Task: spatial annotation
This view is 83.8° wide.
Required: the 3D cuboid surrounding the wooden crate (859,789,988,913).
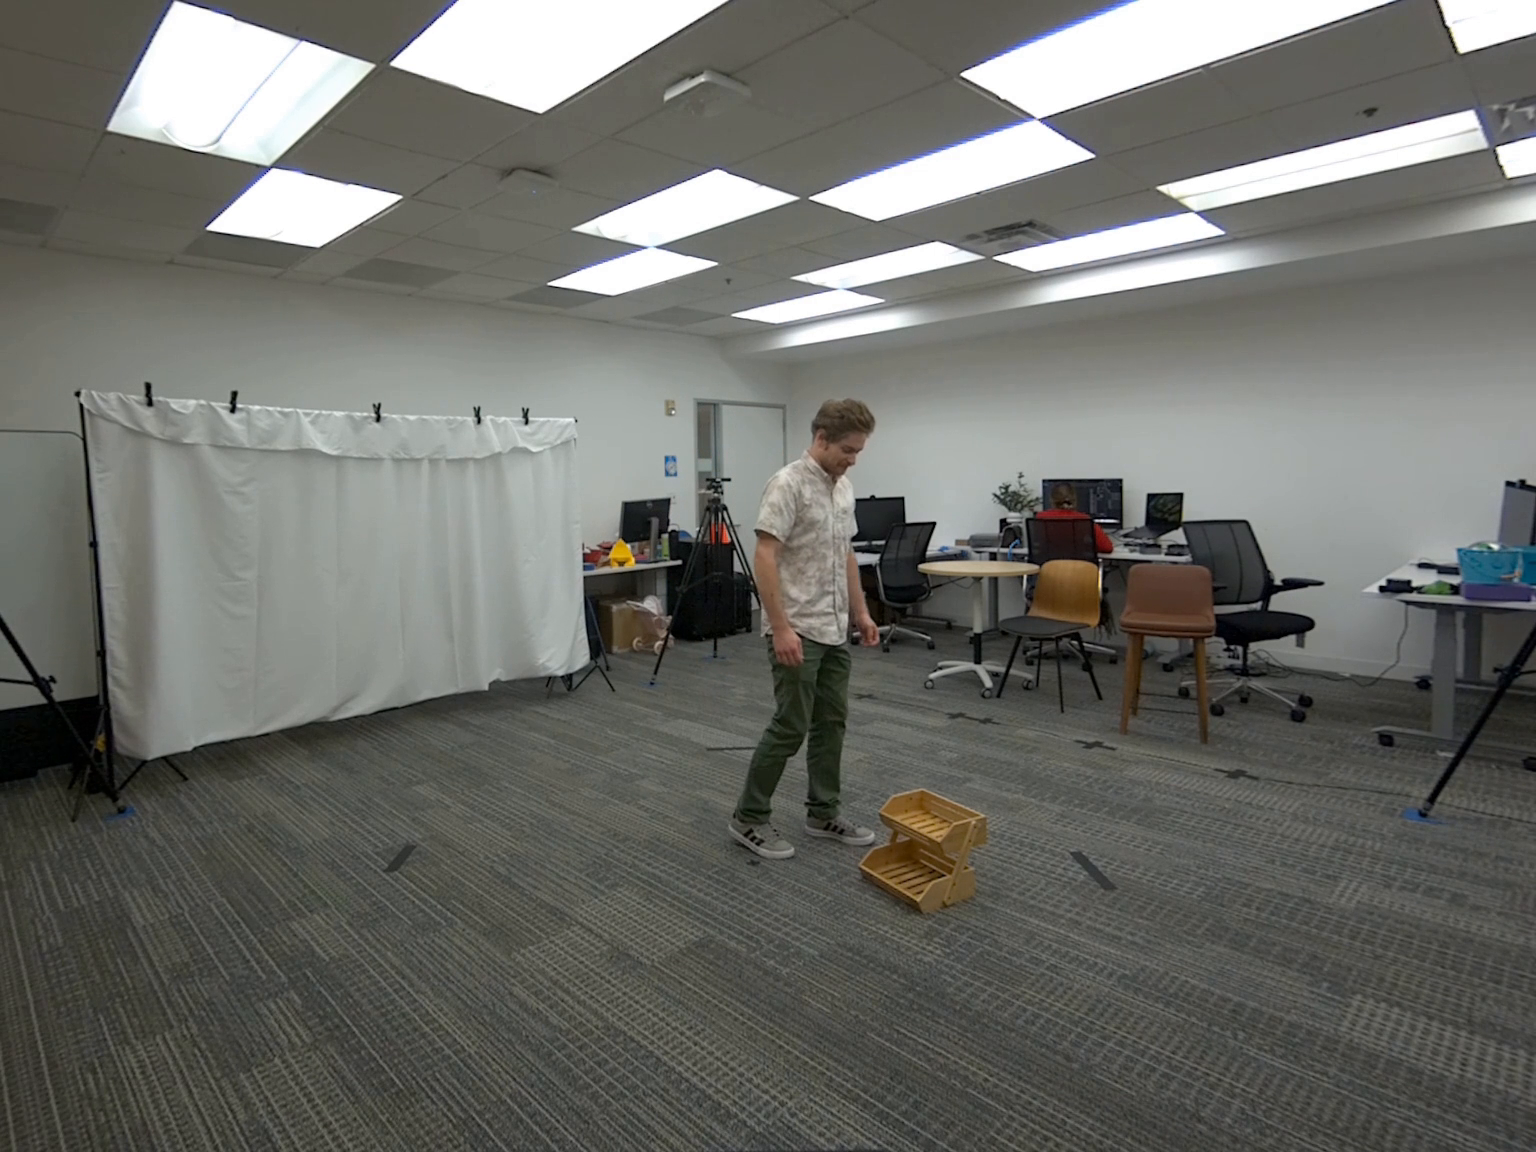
[{"bbox_3d":[0.526,0.921,2.903,0.295,0.272,0.334,-4,5,-32],"label":"wooden crate"}]
